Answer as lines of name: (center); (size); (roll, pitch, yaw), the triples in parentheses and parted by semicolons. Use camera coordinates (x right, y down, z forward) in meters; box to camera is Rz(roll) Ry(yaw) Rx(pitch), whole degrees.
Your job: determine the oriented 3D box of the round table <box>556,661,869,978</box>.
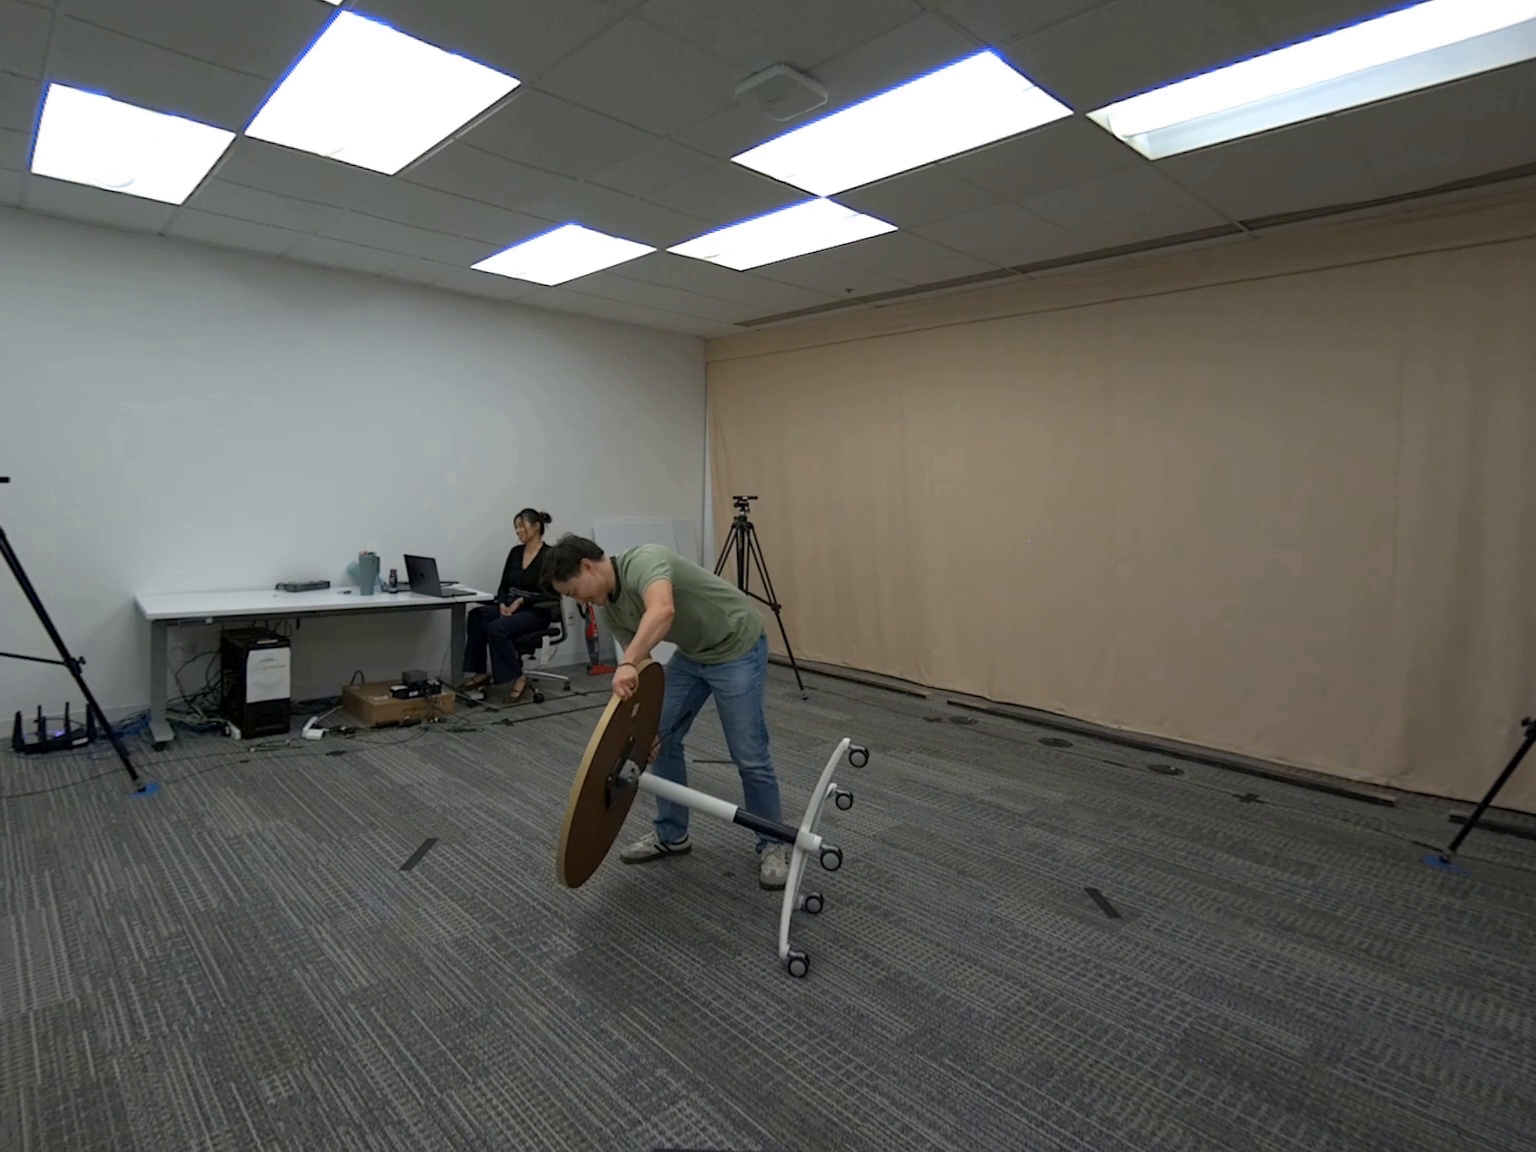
round table: (-0.149, 0.767, 2.722); (0.803, 0.761, 0.758); (17, 7, 10)
